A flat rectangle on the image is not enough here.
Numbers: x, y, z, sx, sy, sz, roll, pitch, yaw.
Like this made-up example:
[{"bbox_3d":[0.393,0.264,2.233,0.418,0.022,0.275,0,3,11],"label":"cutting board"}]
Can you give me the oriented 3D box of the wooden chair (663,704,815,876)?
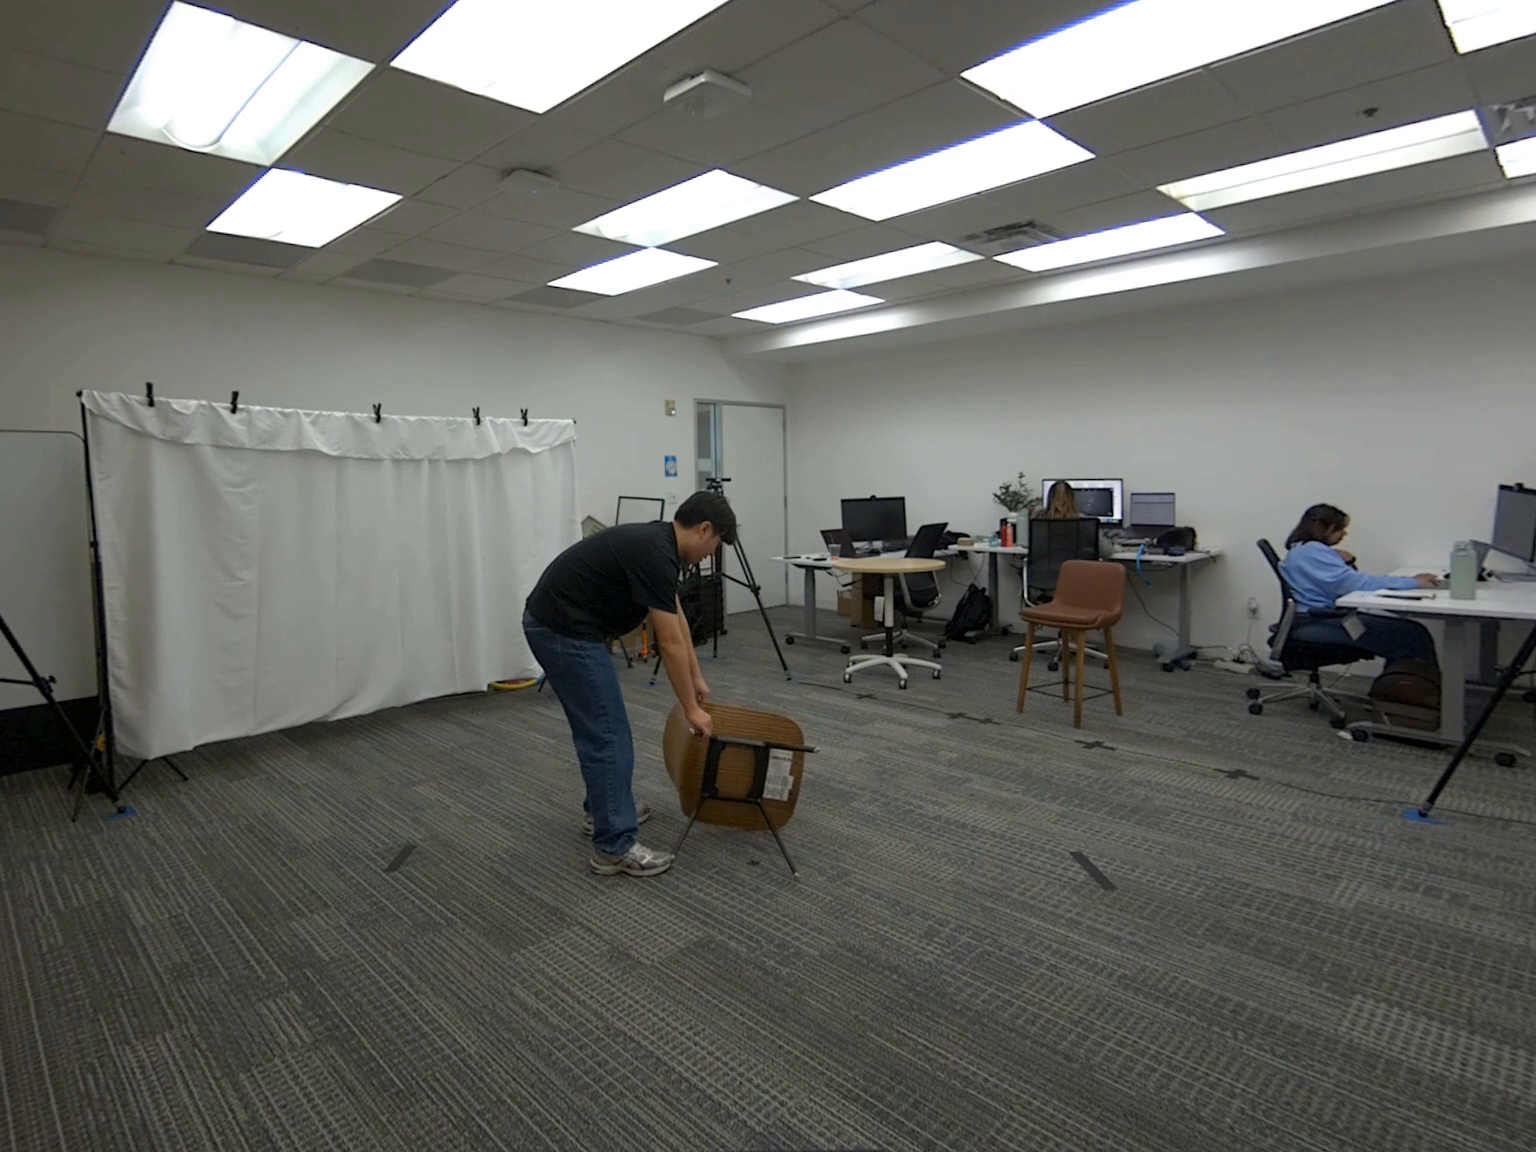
[{"bbox_3d":[-0.125,0.761,3.350,0.518,0.478,0.886,9,1,-10],"label":"wooden chair"}]
